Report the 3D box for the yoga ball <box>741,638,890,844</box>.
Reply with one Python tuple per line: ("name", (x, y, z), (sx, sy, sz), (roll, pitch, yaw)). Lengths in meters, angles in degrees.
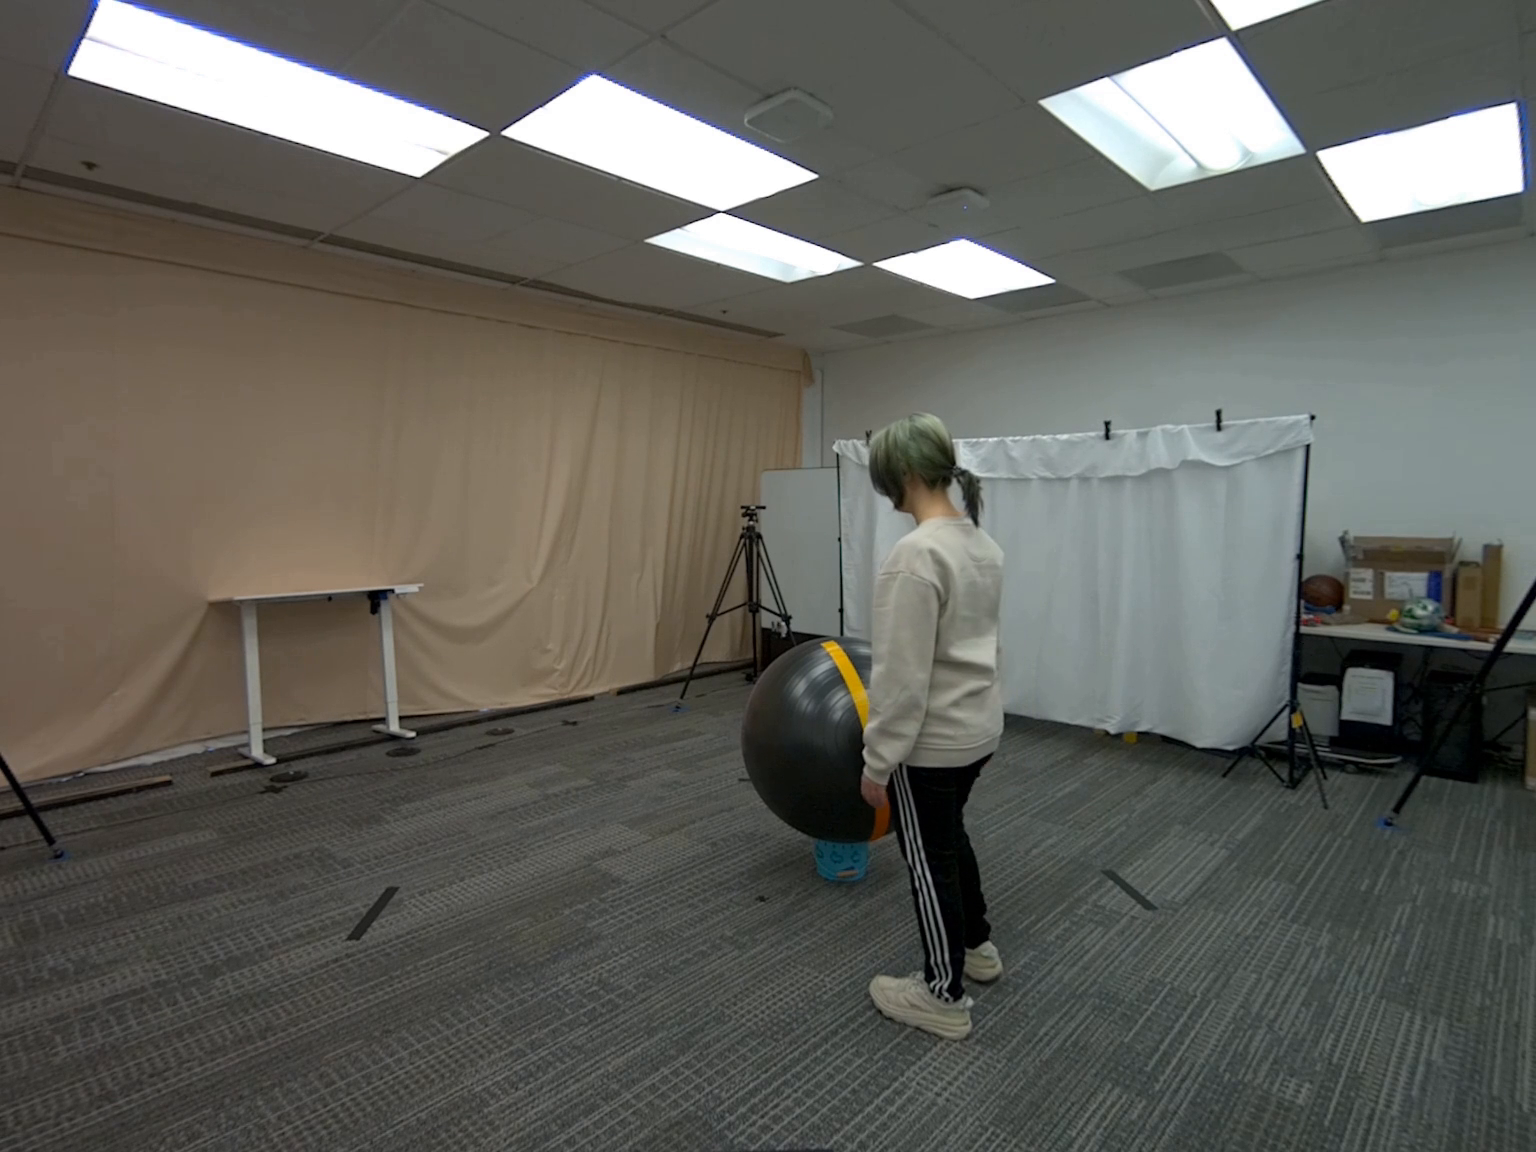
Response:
("yoga ball", (0.279, 0.613, 3.187), (0.757, 0.756, 0.760), (0, 4, -2))
